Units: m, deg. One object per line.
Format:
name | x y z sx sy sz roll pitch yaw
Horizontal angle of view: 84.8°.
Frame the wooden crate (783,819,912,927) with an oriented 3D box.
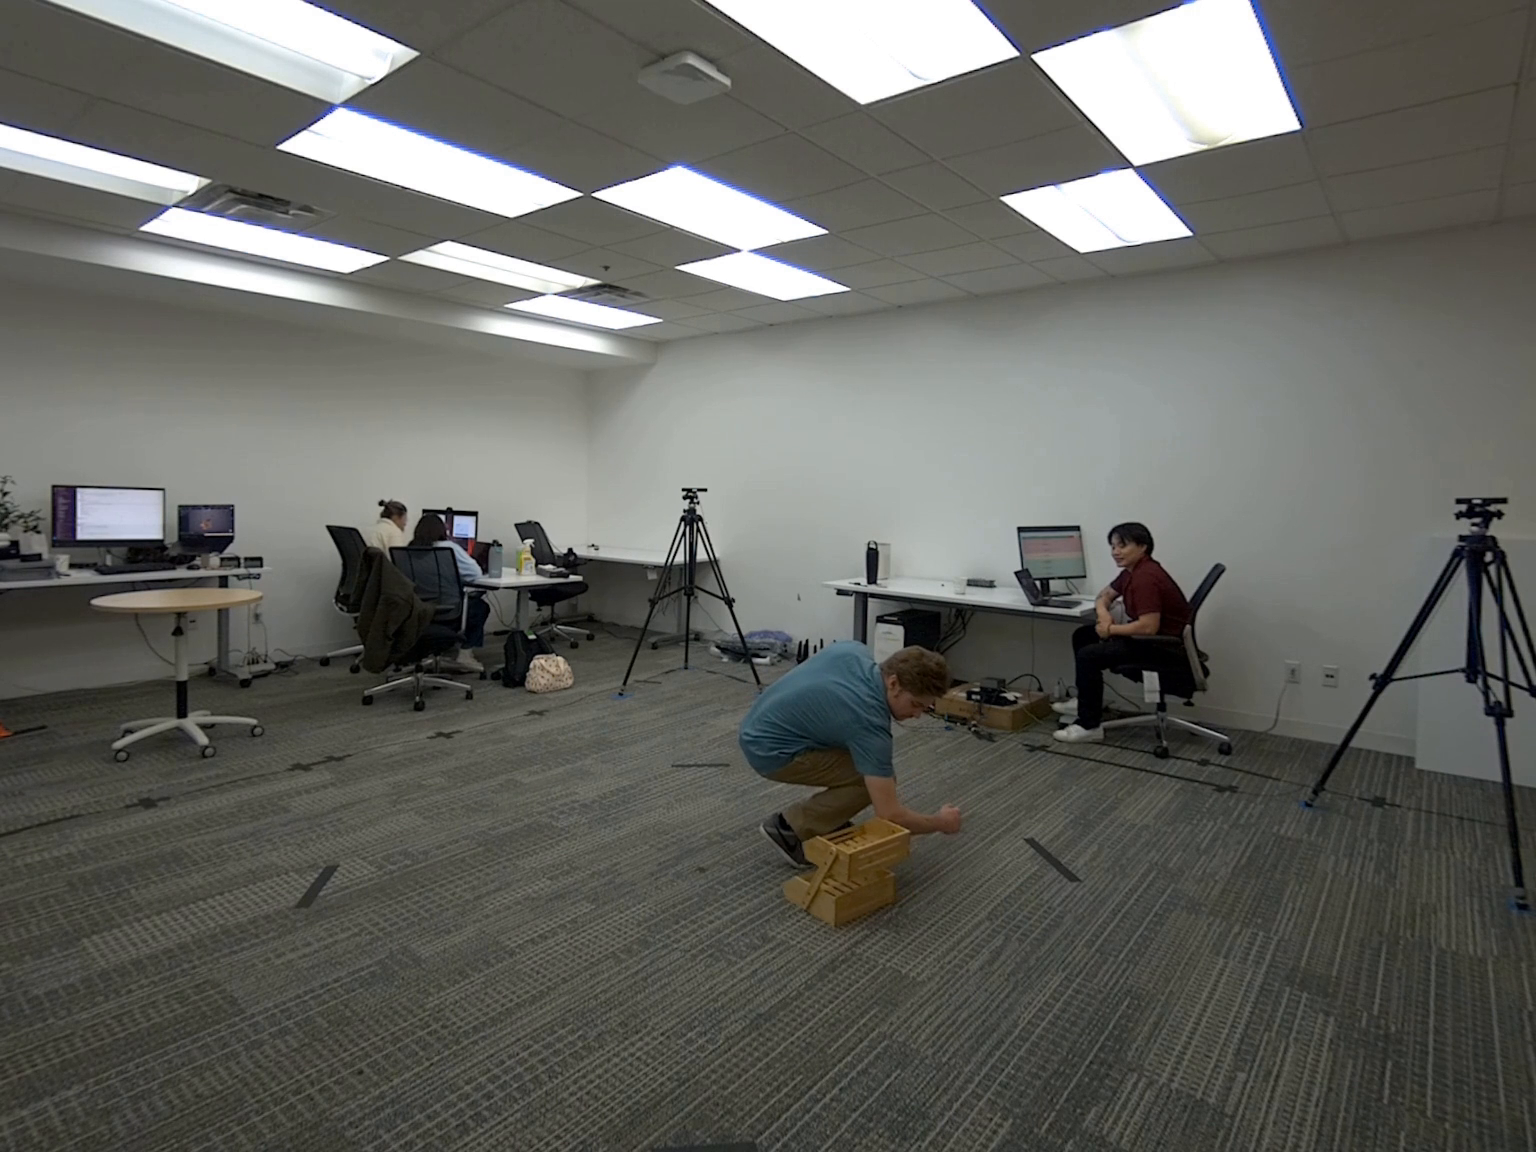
wooden crate | 0.254 0.966 2.879 0.315 0.272 0.312 -2 7 -40
